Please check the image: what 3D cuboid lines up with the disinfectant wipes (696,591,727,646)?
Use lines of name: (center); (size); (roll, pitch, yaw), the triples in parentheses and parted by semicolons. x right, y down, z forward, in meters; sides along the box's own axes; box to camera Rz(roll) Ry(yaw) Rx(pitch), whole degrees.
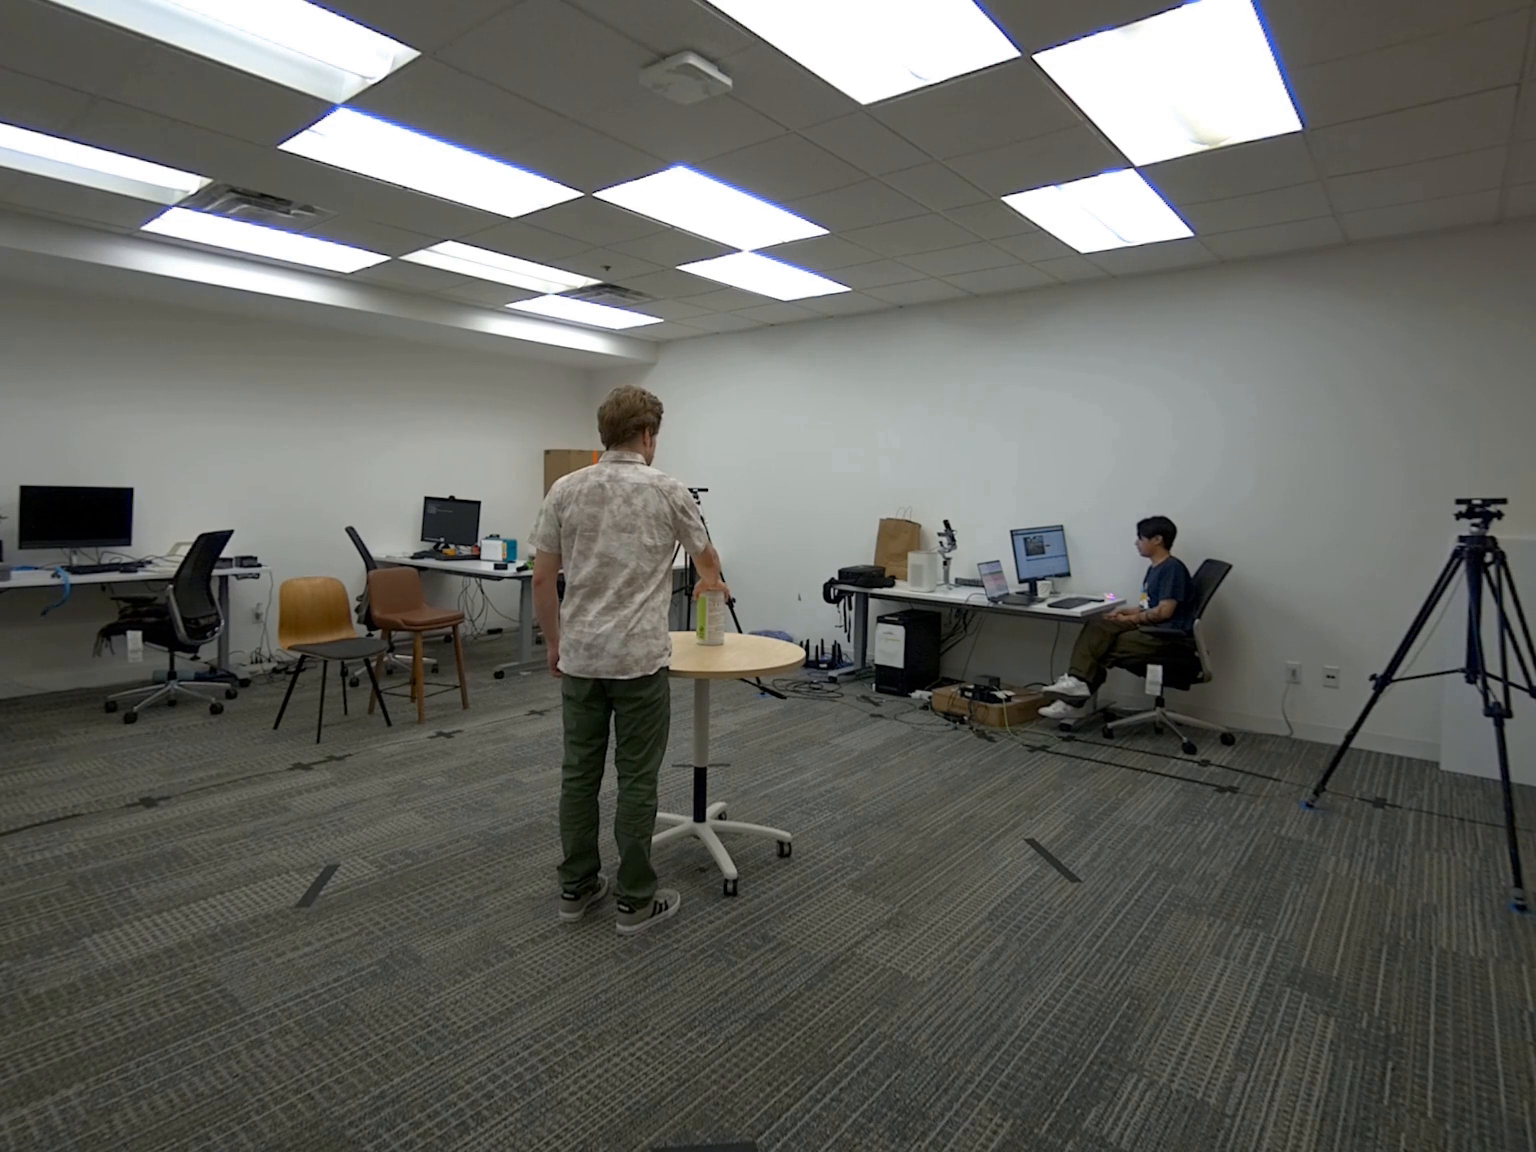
disinfectant wipes: (-0.227, 0.152, 3.285); (0.117, 0.217, 0.118); (1, 4, -2)
